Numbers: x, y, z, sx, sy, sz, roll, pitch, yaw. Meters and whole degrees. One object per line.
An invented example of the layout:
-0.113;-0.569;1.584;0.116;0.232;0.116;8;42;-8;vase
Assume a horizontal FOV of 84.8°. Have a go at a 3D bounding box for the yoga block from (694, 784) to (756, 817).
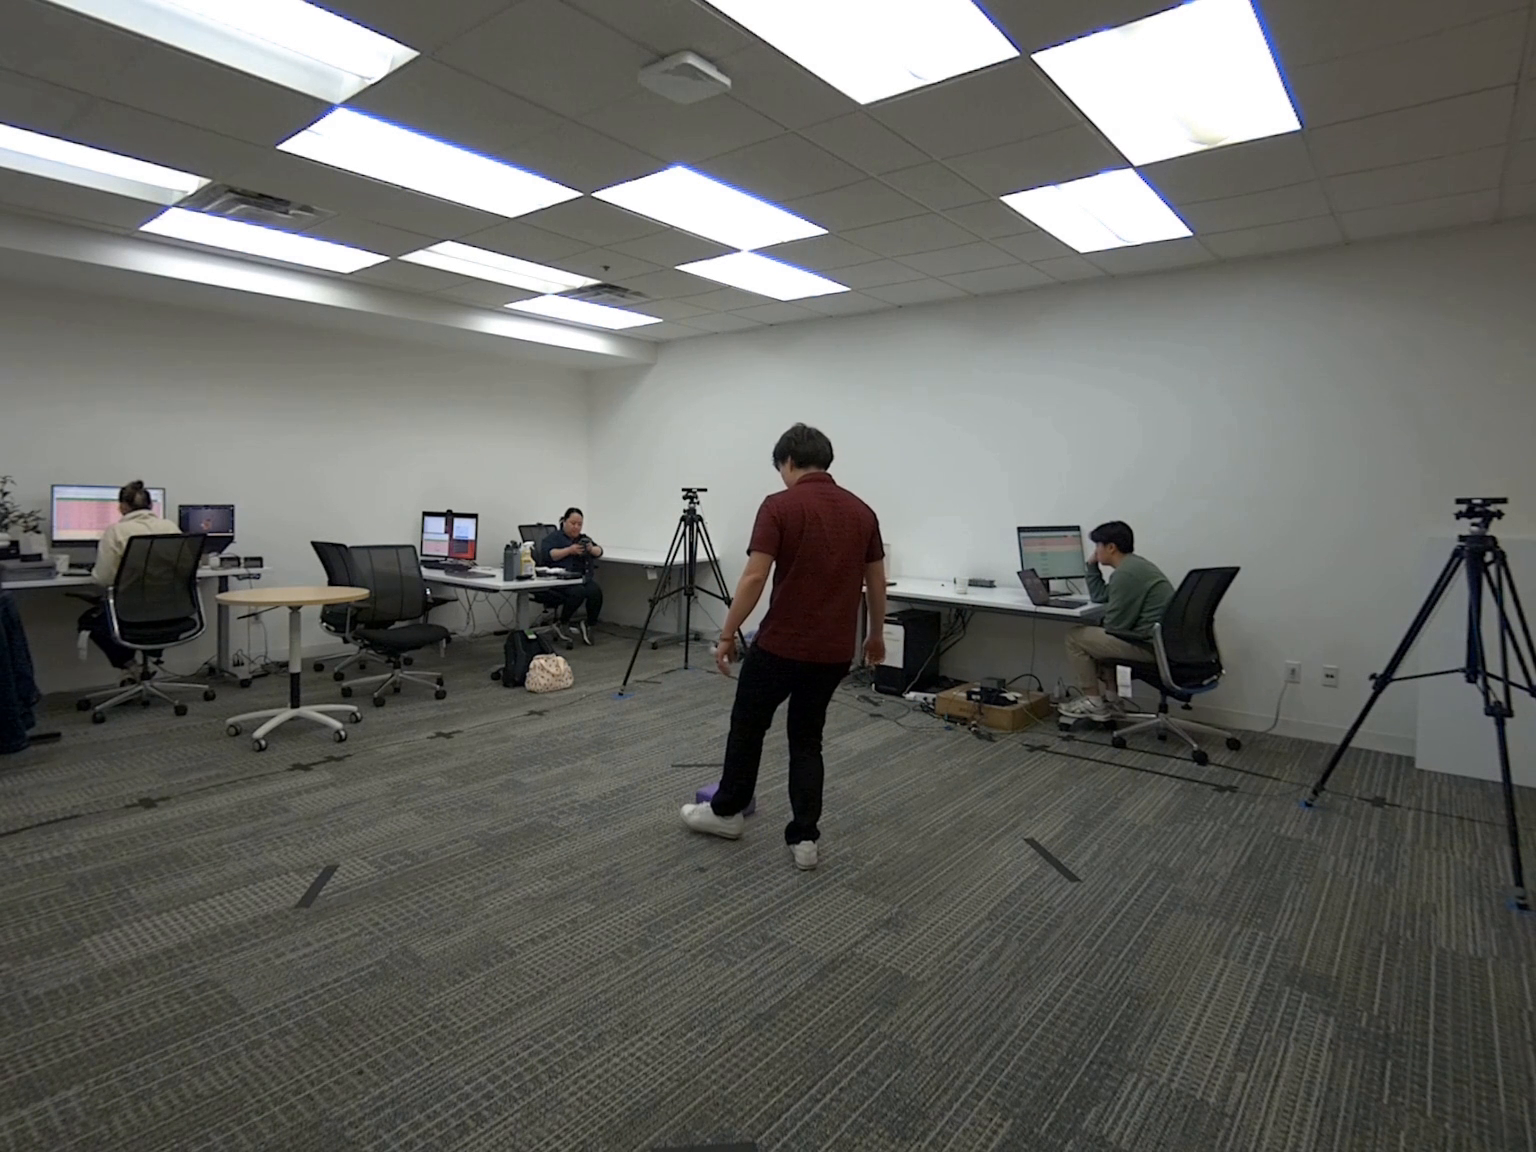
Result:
-0.193;0.972;3.699;0.237;0.076;0.145;4;5;37;yoga block
